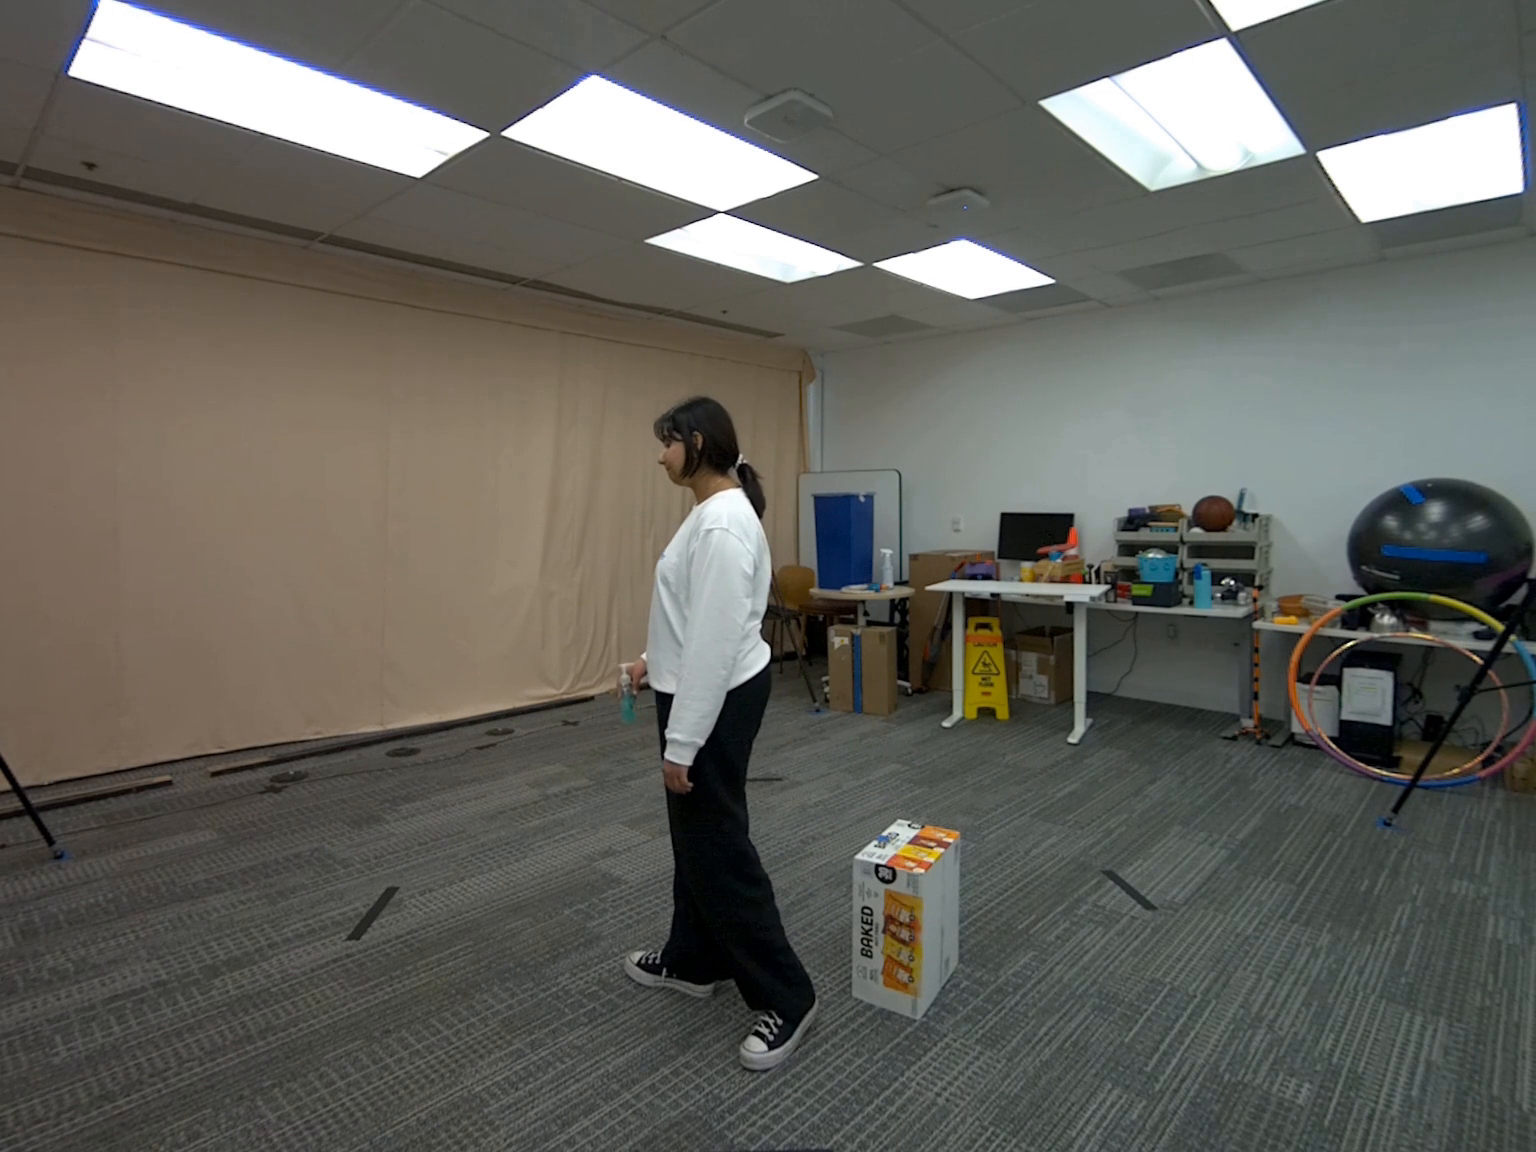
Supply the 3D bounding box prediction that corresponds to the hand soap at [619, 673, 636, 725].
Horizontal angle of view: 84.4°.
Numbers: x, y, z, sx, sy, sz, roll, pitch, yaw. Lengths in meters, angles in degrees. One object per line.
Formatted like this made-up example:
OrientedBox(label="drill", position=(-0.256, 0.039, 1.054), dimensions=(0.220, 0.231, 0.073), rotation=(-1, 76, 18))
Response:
OrientedBox(label="hand soap", position=(-0.394, 0.339, 2.426), dimensions=(0.043, 0.168, 0.084), rotation=(-3, 2, 1))
